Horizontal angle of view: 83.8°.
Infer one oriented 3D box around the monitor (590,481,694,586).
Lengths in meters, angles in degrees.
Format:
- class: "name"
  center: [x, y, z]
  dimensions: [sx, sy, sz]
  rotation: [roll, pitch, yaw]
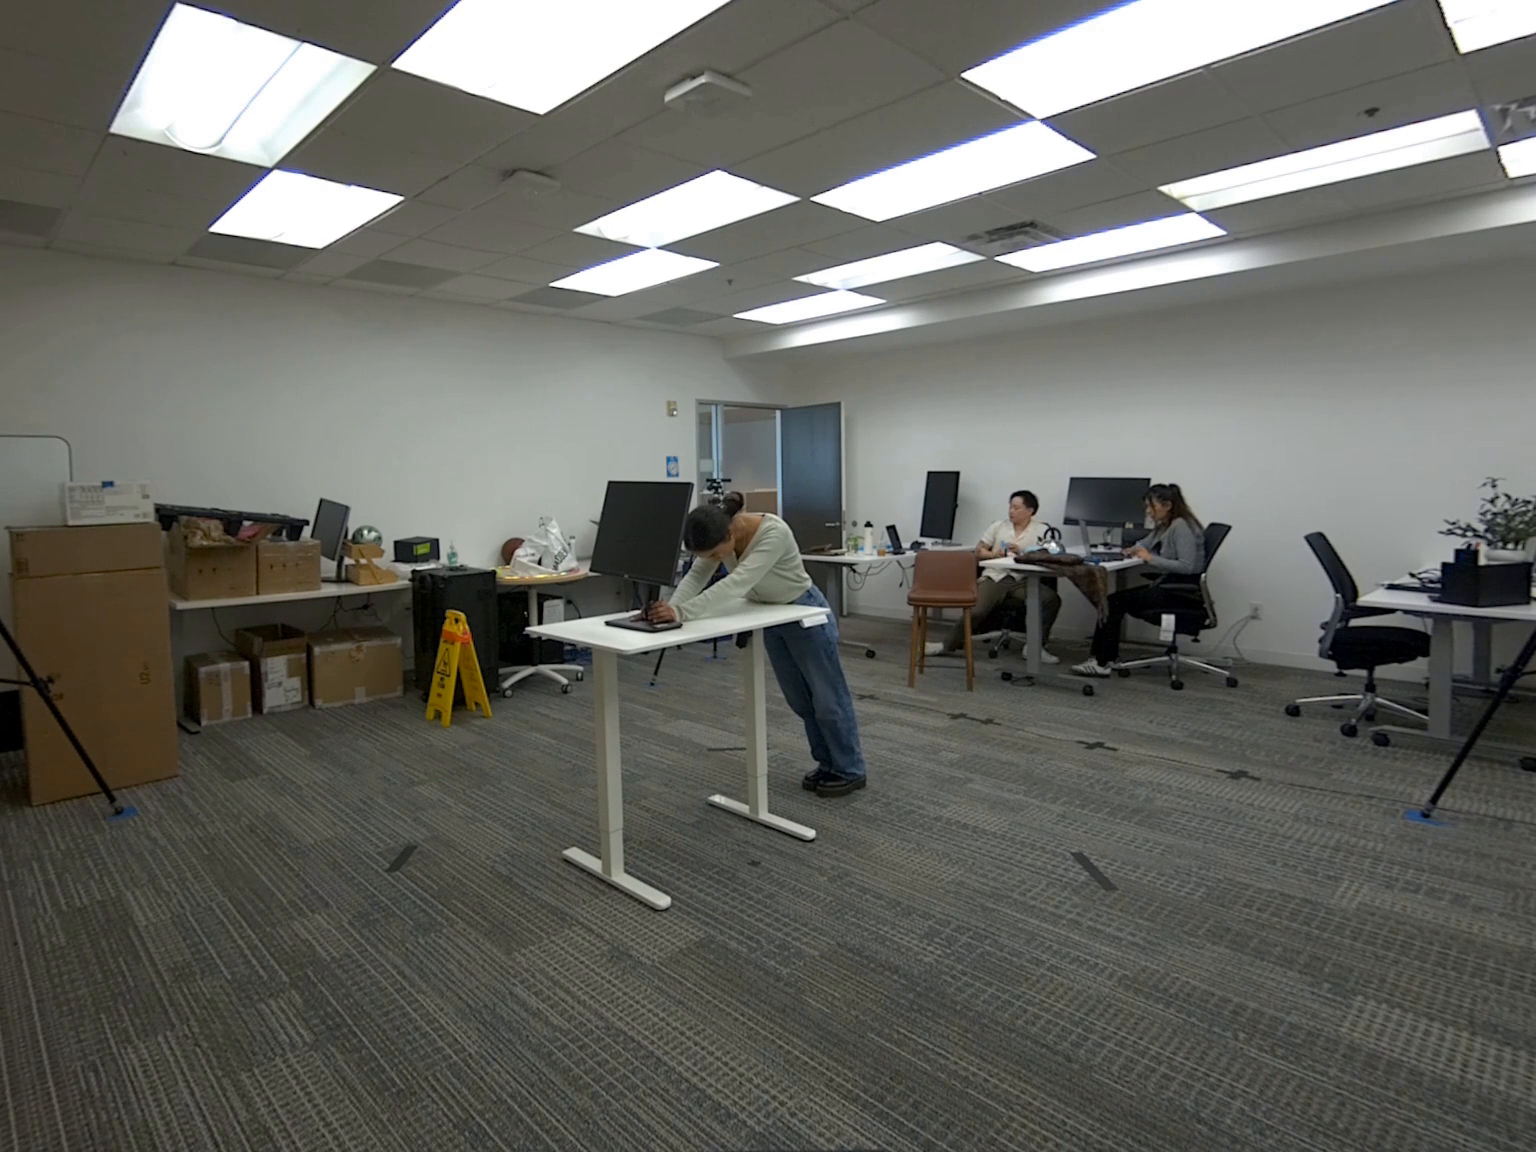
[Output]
- class: "monitor"
  center: [-0.436, -0.075, 3.033]
  dimensions: [0.182, 0.521, 0.556]
  rotation: [-1, 5, -42]
